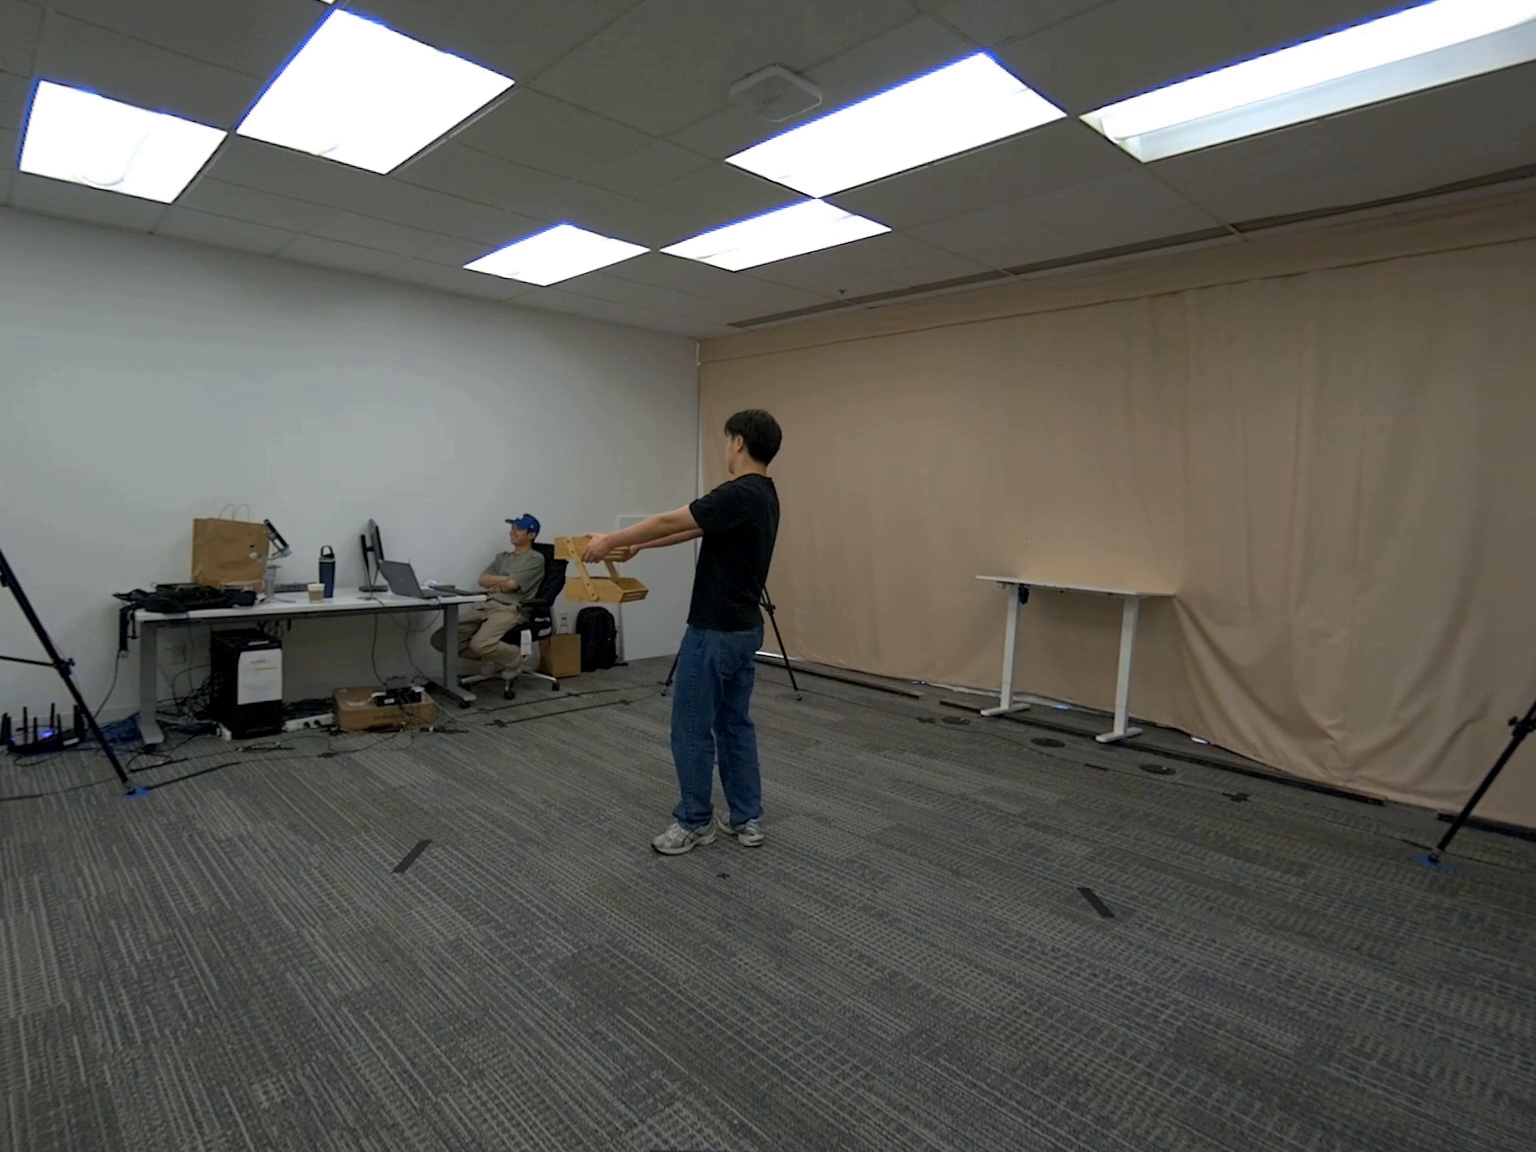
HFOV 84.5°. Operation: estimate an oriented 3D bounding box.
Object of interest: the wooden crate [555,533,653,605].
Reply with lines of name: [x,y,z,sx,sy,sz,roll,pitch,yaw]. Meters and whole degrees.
wooden crate: [-0.669,-0.033,3.487,0.304,0.273,0.322,1,-1,9]
